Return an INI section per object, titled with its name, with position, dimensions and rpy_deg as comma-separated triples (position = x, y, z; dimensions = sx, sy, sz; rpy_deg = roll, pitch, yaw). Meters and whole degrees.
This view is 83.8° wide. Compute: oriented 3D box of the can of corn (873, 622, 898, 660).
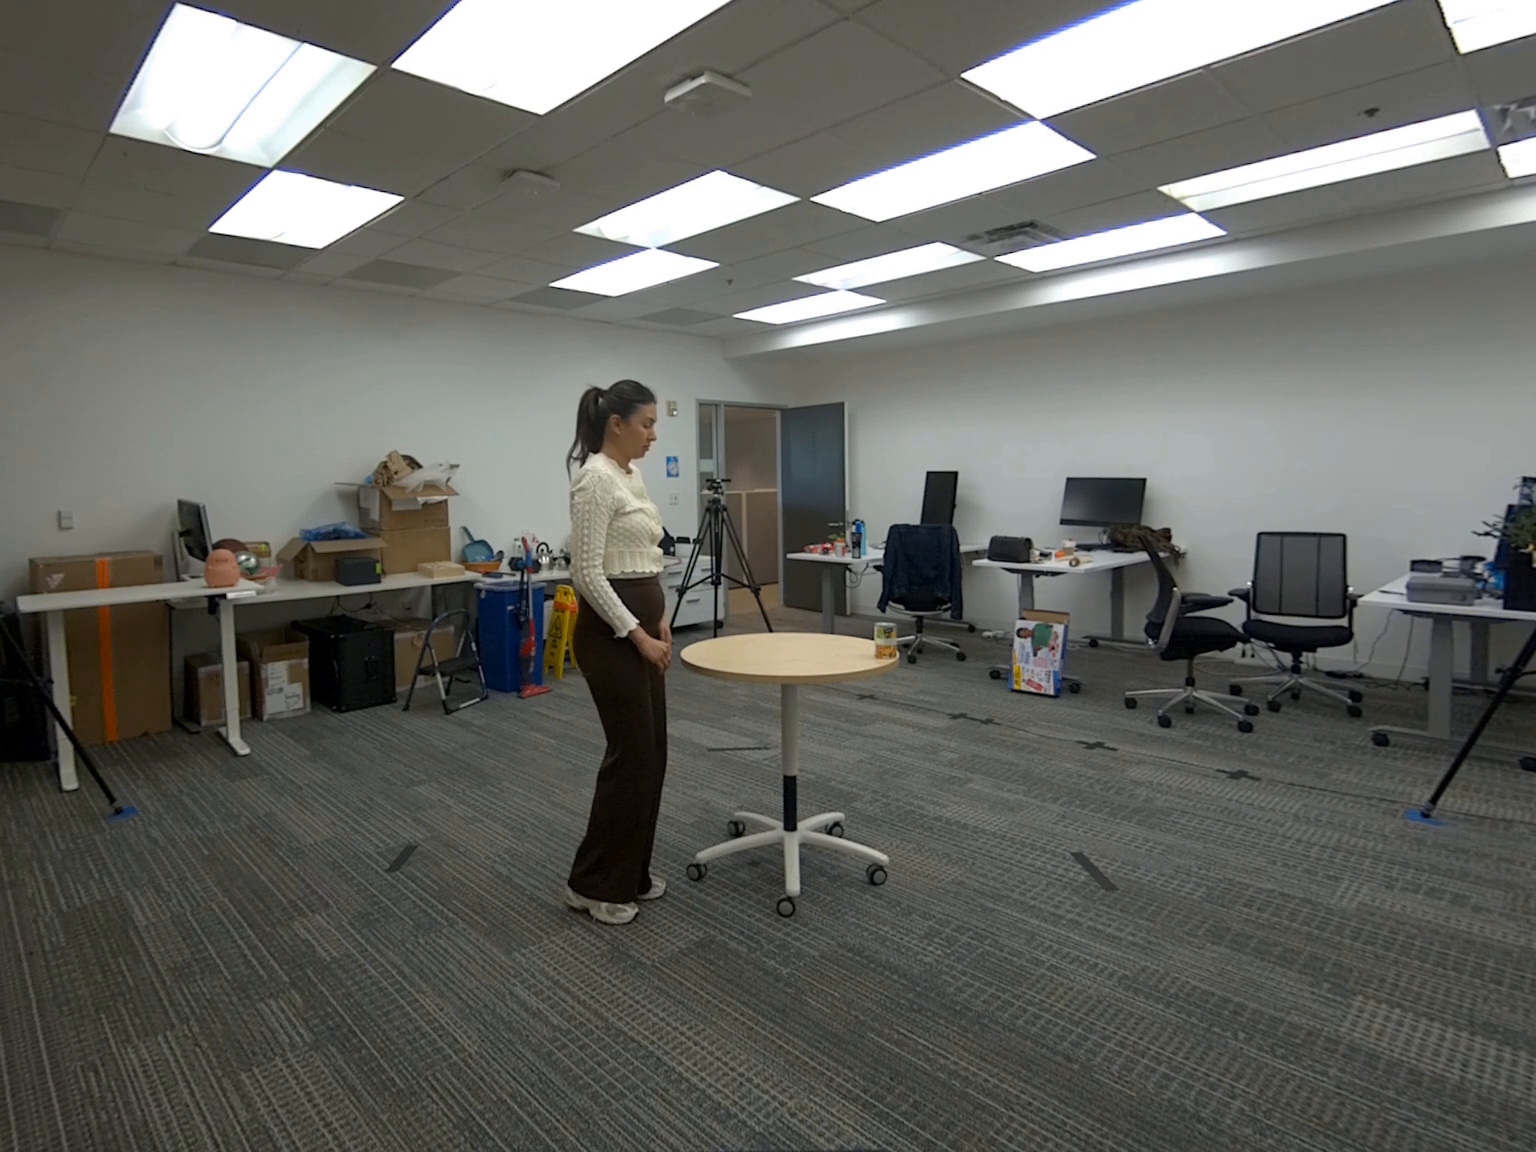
[can of corn]
position = 0.401, 0.220, 2.909
dimensions = 0.074, 0.110, 0.075
rpy_deg = 2, 7, -2
